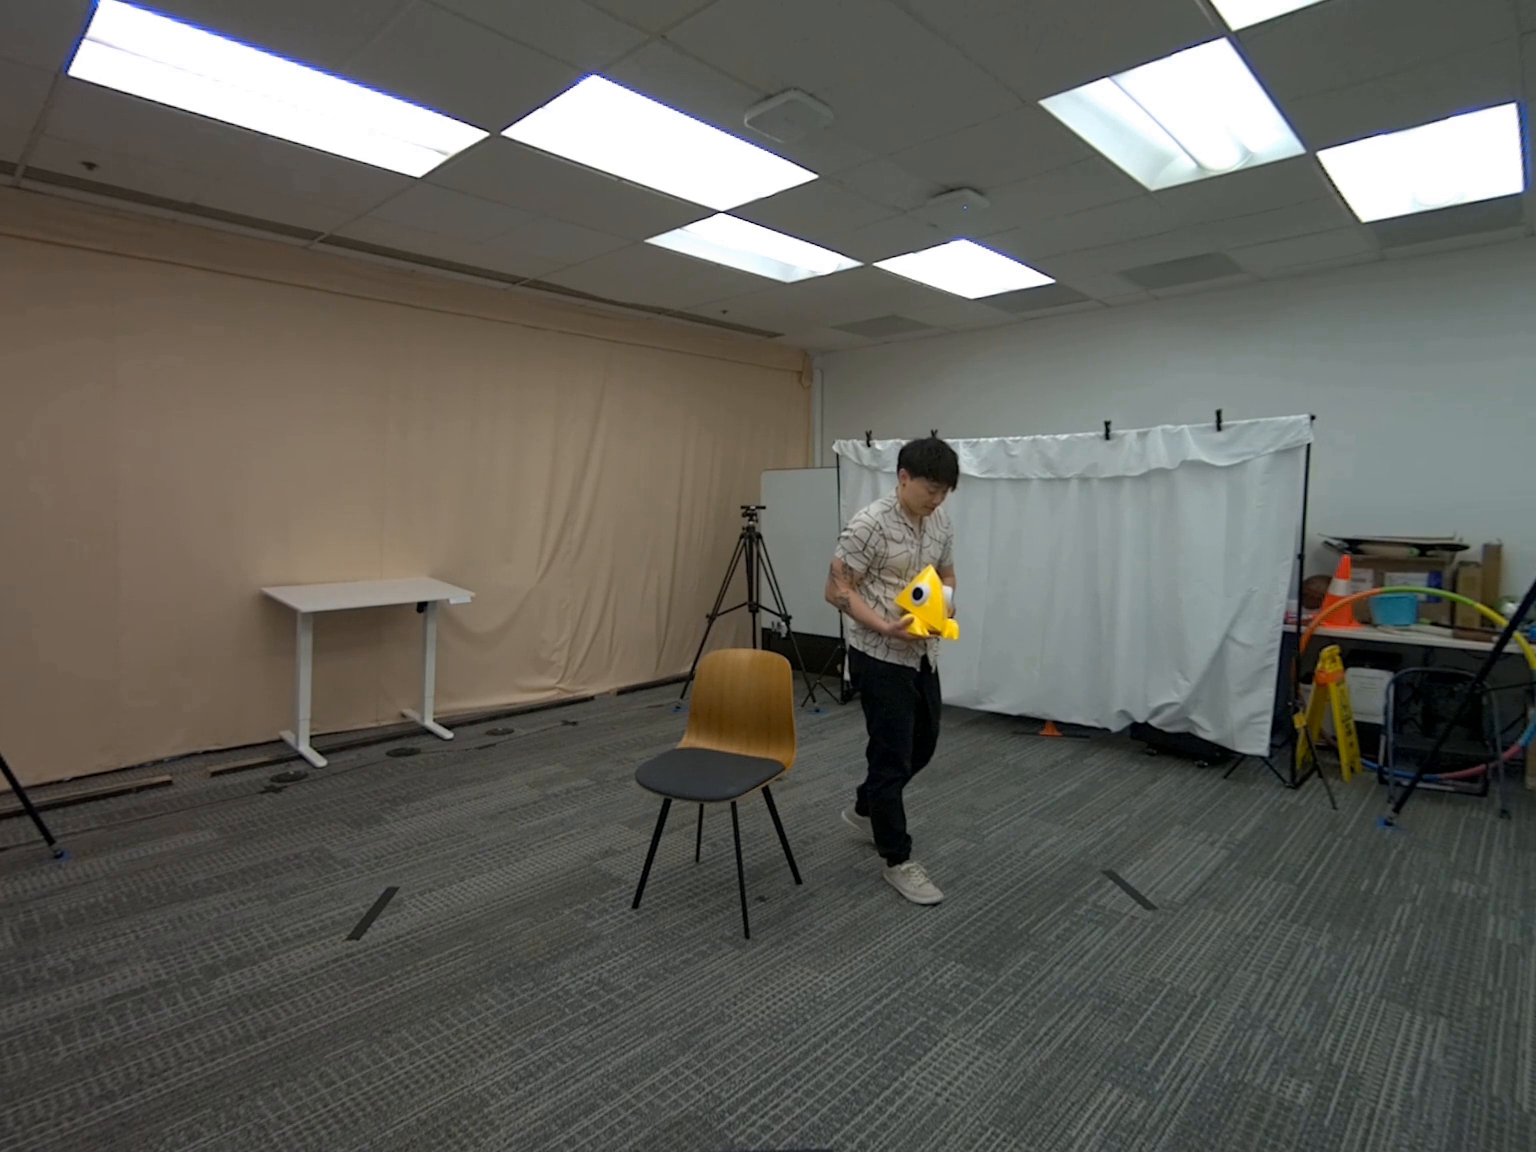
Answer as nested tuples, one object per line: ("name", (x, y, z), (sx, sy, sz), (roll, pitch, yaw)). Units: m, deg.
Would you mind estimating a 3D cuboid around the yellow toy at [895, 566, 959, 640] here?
("yellow toy", (0.576, 0.083, 2.905), (0.202, 0.230, 0.196), (7, 5, -14))
